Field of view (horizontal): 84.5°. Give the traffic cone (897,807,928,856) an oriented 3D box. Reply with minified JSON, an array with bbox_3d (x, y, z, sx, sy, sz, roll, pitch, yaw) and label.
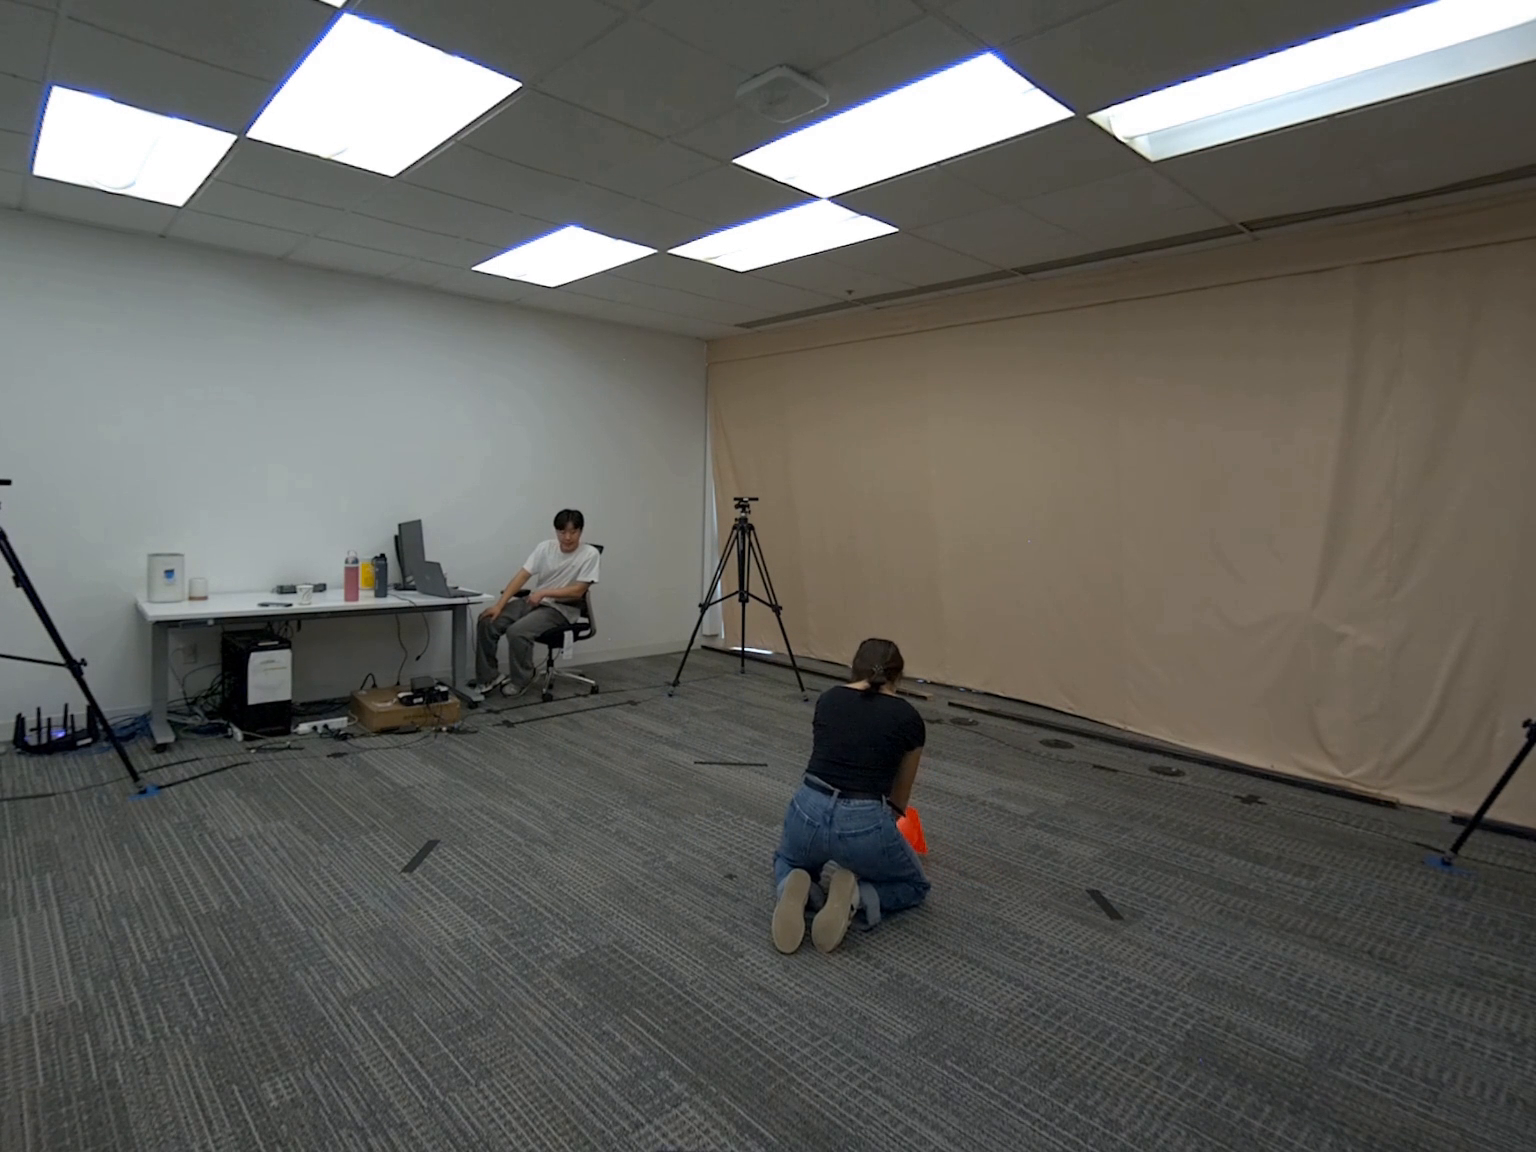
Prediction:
[{"bbox_3d":[0.397,1.059,3.219,0.207,0.203,0.378,-6,11,44],"label":"traffic cone"}]
